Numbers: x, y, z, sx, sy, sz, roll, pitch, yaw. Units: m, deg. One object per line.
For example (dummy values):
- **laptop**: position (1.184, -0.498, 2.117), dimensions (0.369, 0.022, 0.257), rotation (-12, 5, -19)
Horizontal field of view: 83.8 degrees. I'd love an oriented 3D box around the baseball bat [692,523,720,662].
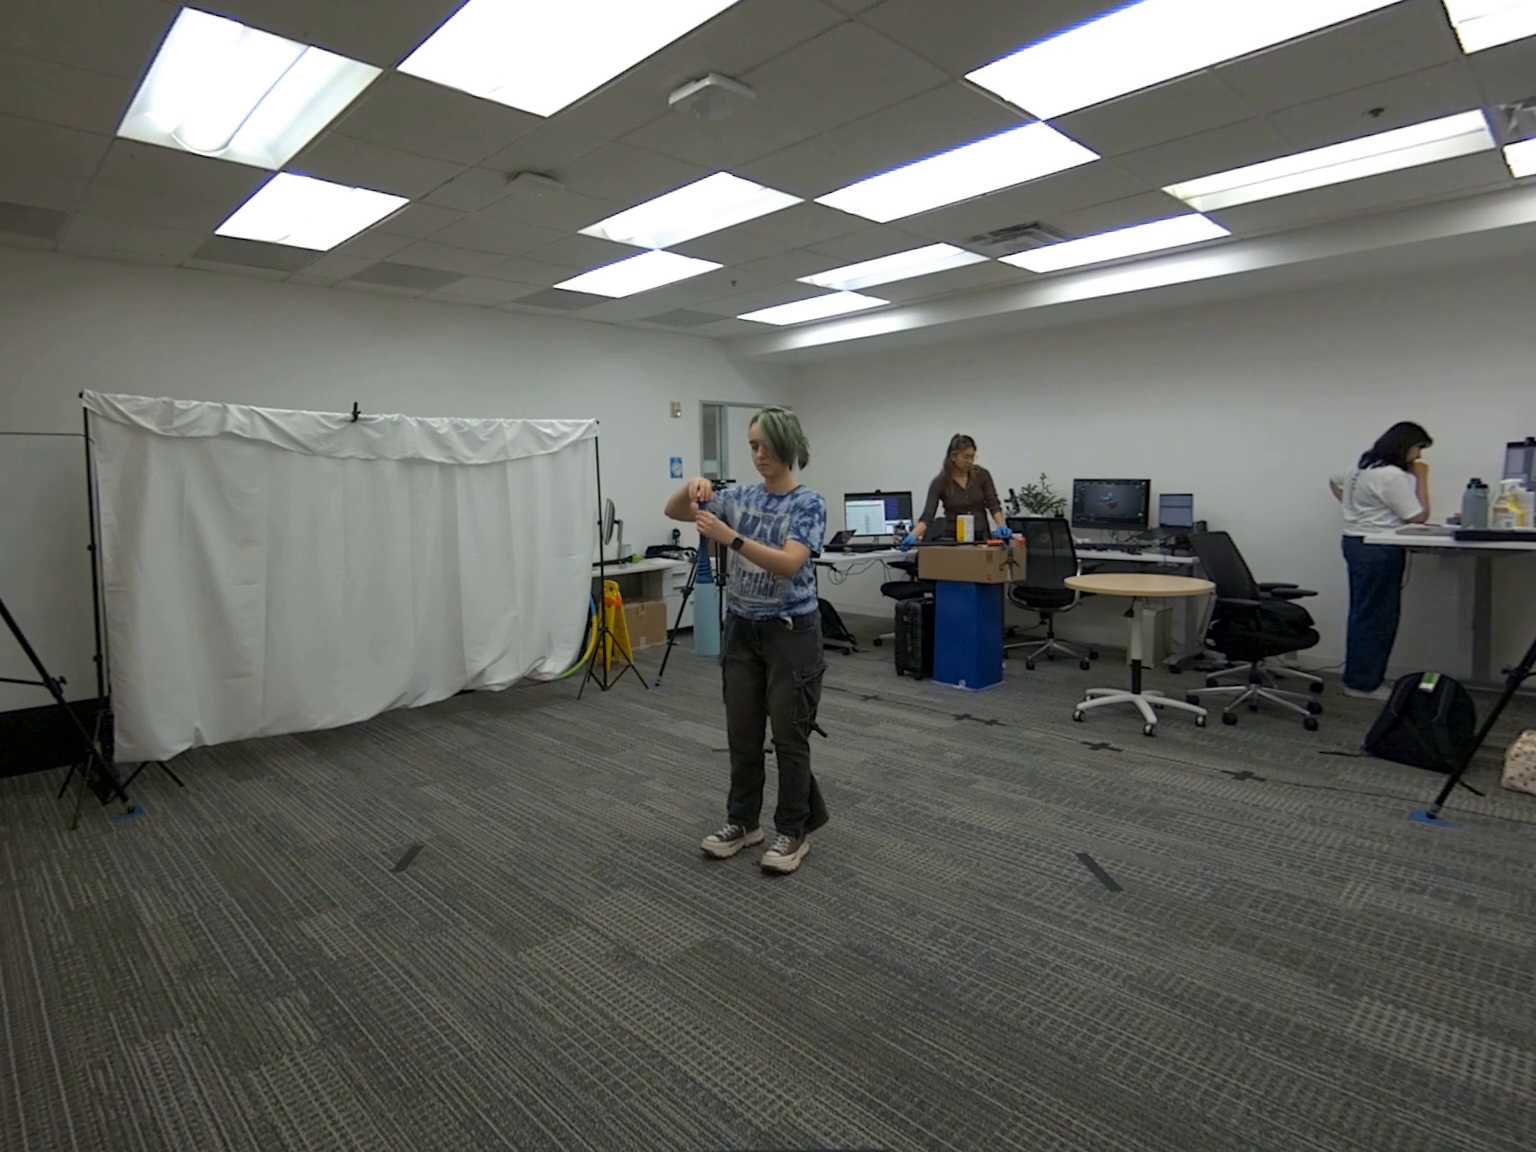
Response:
- **baseball bat**: position (-0.208, 0.007, 2.867), dimensions (0.089, 0.542, 0.089), rotation (0, 2, -2)
